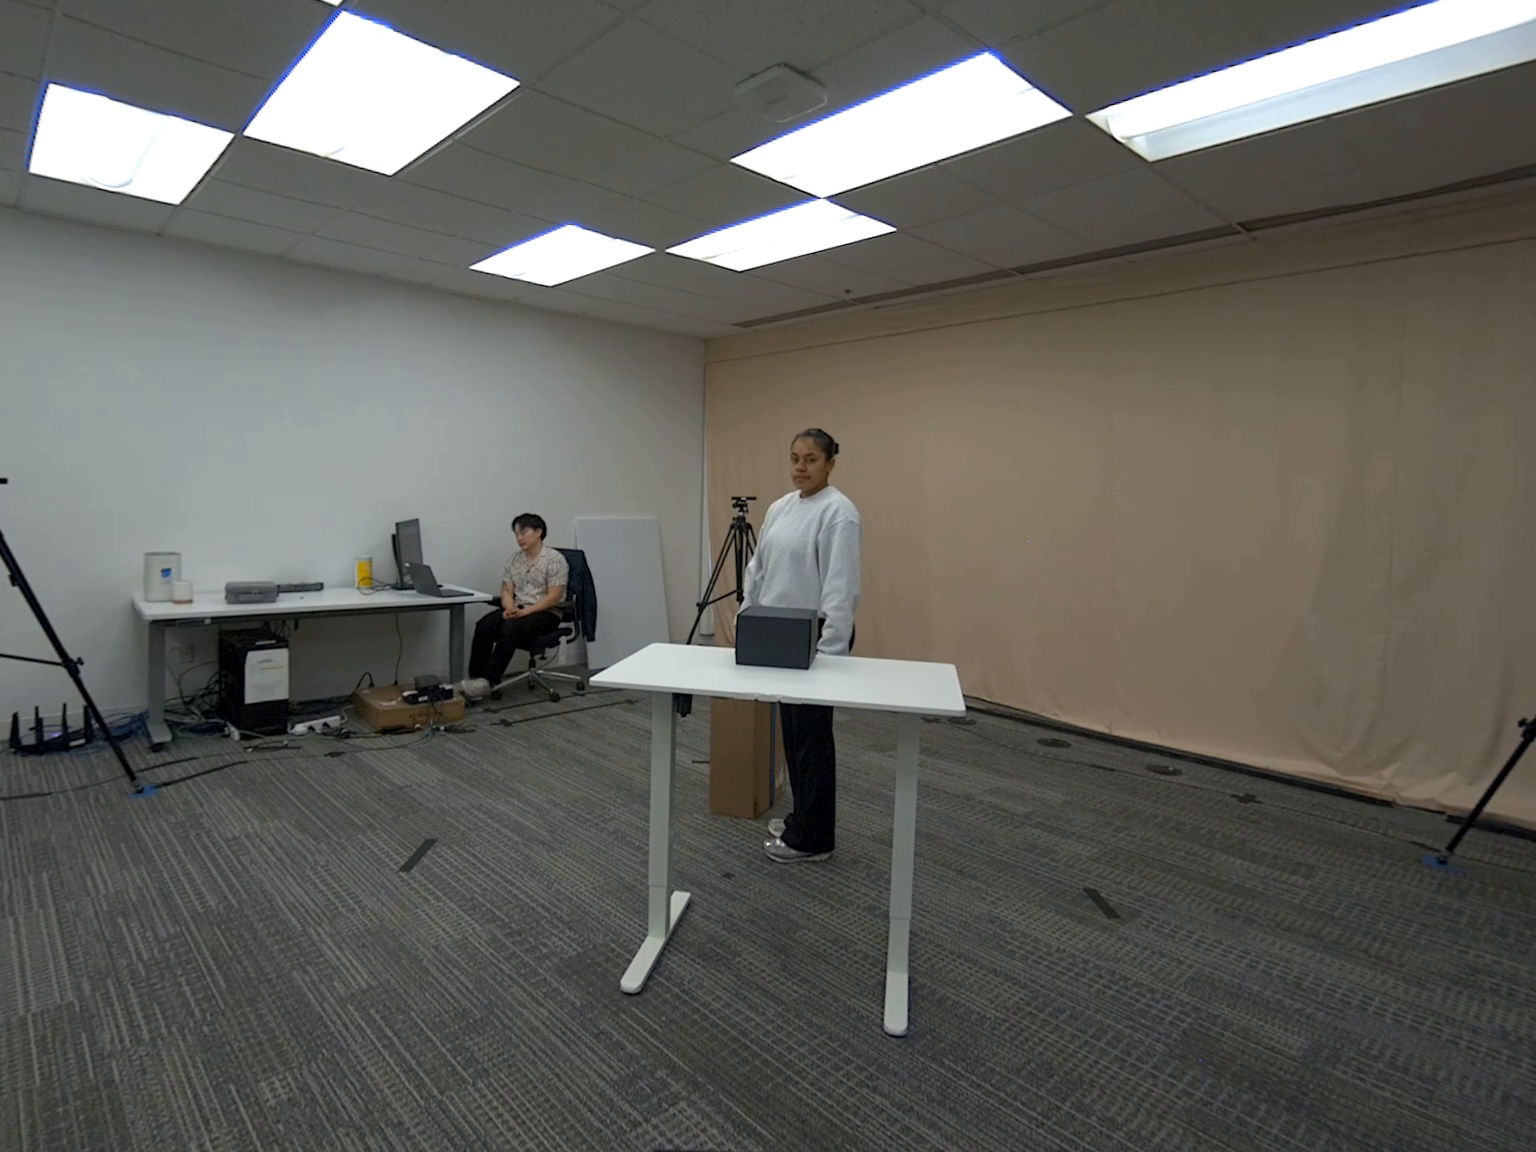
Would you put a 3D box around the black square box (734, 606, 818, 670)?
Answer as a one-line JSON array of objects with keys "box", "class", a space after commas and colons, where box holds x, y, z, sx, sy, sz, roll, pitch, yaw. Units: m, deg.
[{"box": [0.029, 0.188, 2.638, 0.230, 0.155, 0.216, 5, 8, 11], "class": "black square box"}]
